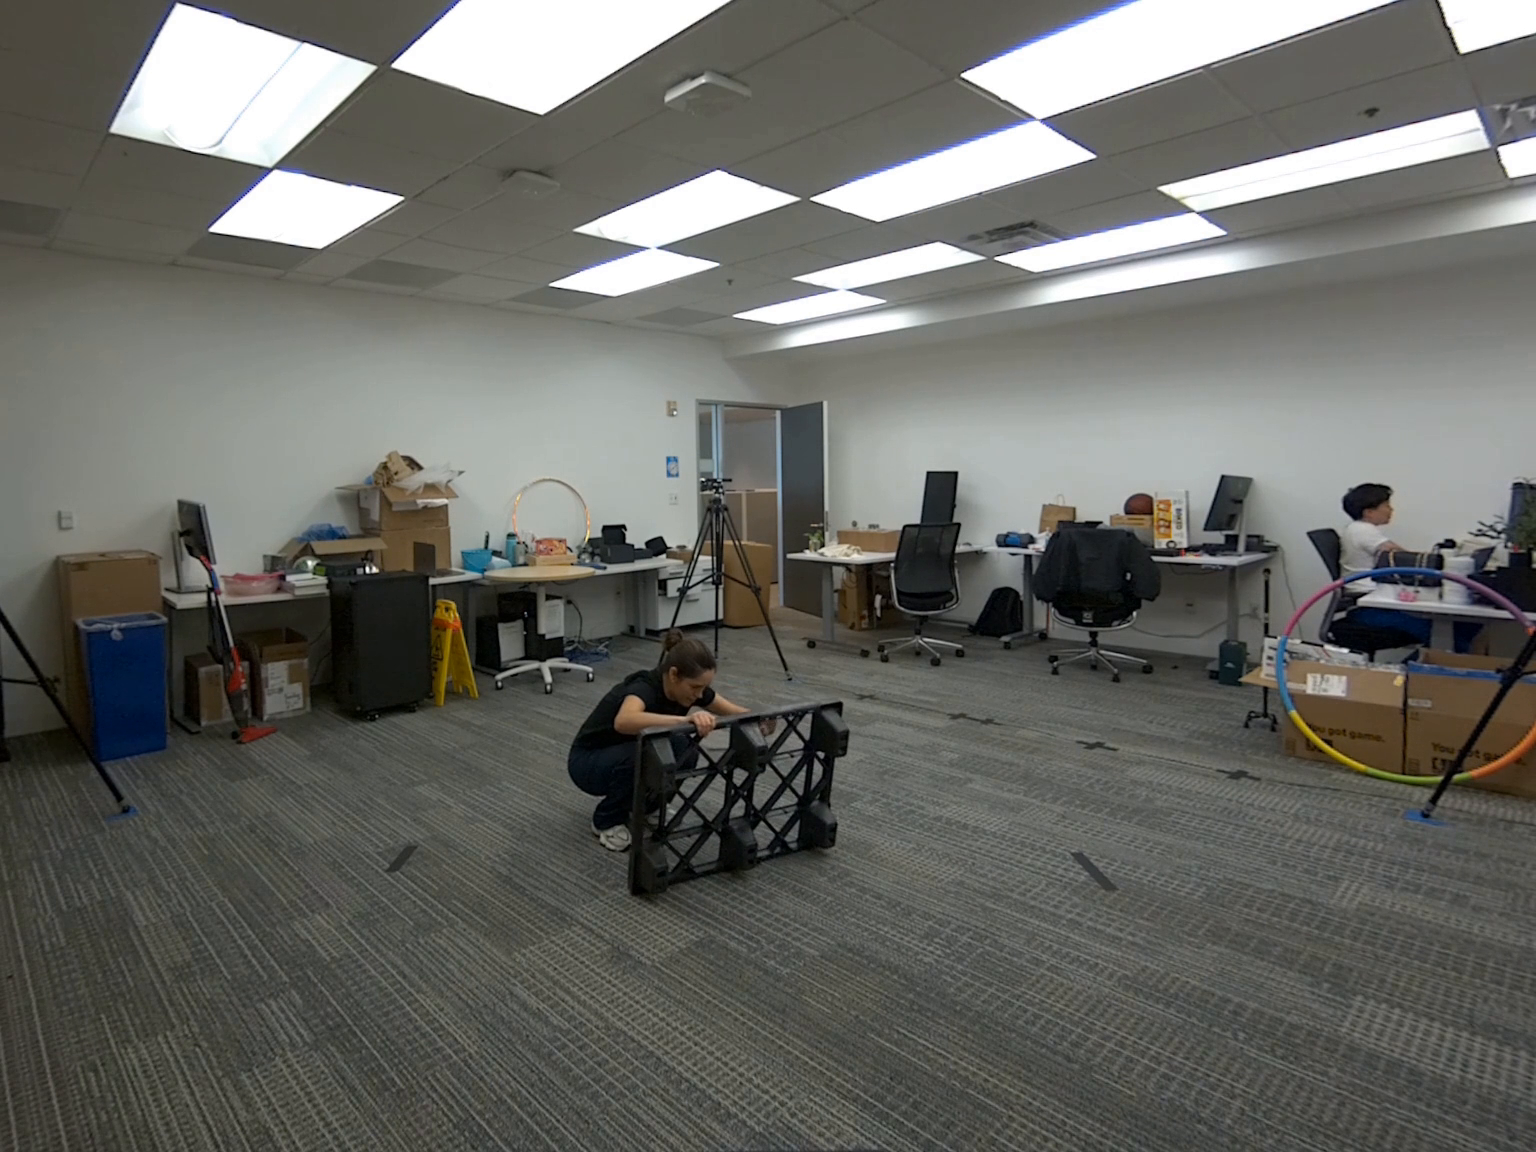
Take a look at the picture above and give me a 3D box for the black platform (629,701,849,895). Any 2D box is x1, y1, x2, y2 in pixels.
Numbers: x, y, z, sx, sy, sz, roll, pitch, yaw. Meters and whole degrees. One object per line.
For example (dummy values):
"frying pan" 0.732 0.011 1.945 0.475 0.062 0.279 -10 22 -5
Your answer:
"black platform" -0.076 0.768 2.981 0.787 0.598 0.148 -4 17 -29
